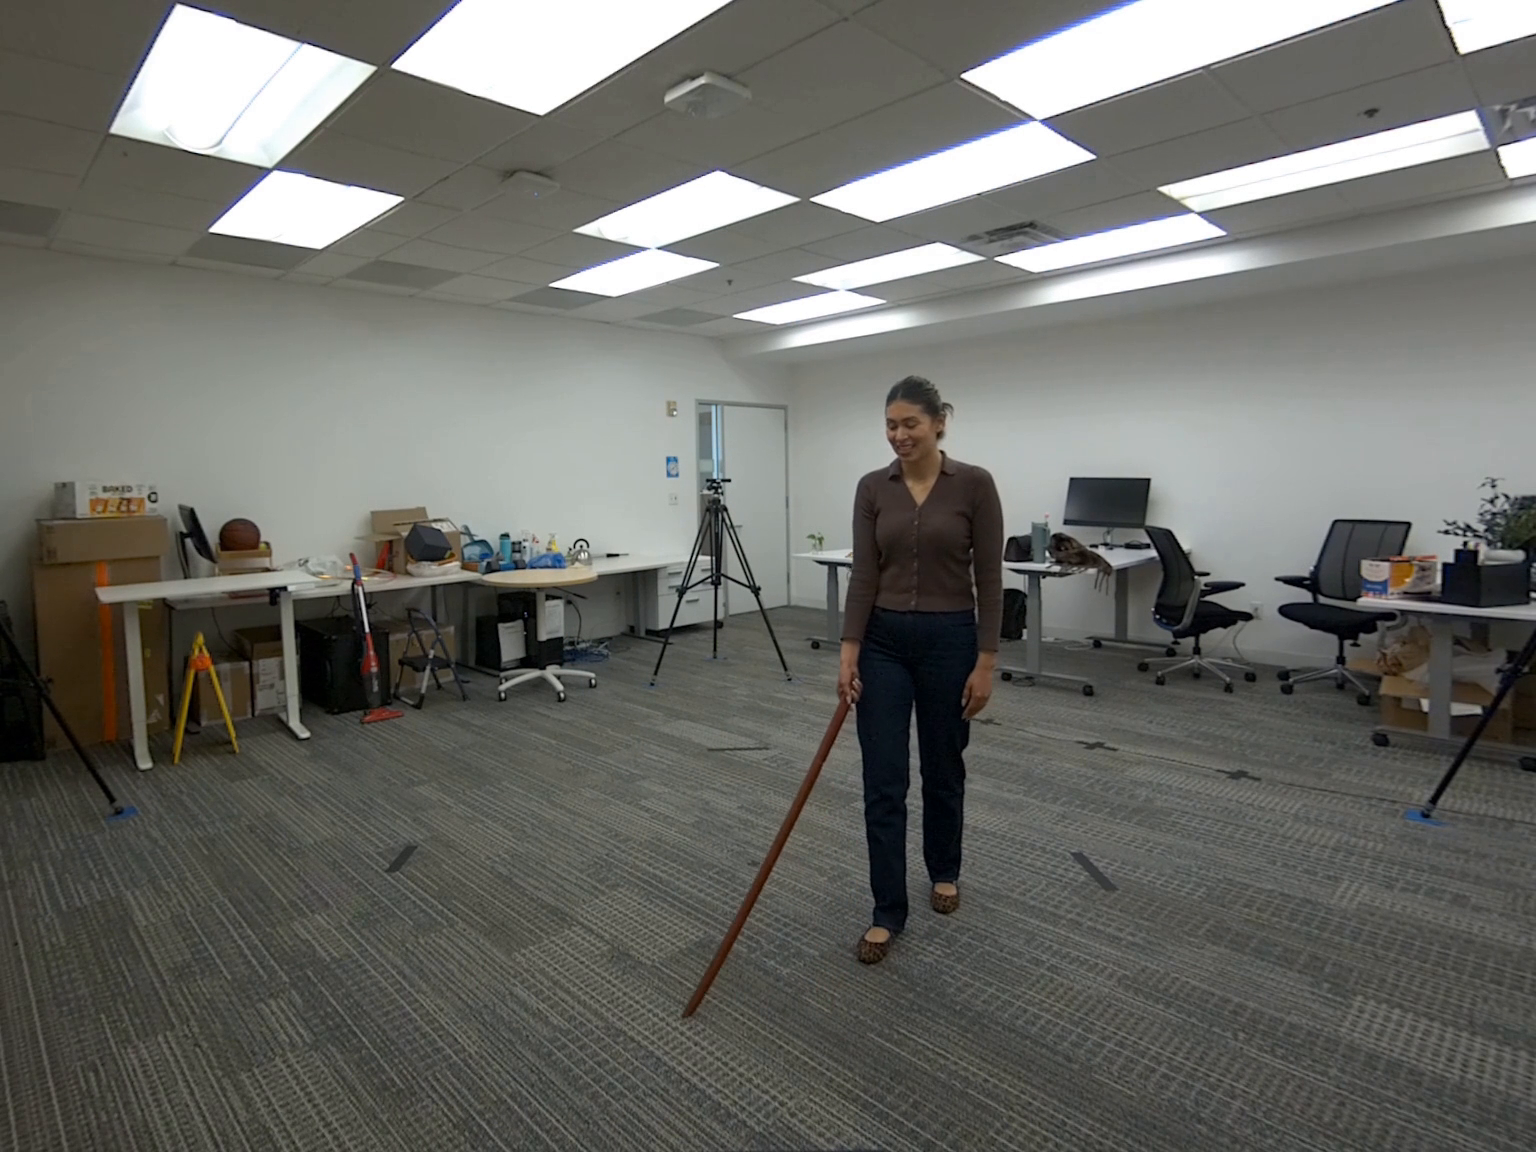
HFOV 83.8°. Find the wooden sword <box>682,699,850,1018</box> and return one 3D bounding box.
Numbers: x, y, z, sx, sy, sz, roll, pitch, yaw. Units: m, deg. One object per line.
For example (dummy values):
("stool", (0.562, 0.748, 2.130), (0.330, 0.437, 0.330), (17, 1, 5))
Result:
("wooden sword", (0.038, 0.751, 2.389), (0.052, 1.030, 0.023), (23, -21, 21))
